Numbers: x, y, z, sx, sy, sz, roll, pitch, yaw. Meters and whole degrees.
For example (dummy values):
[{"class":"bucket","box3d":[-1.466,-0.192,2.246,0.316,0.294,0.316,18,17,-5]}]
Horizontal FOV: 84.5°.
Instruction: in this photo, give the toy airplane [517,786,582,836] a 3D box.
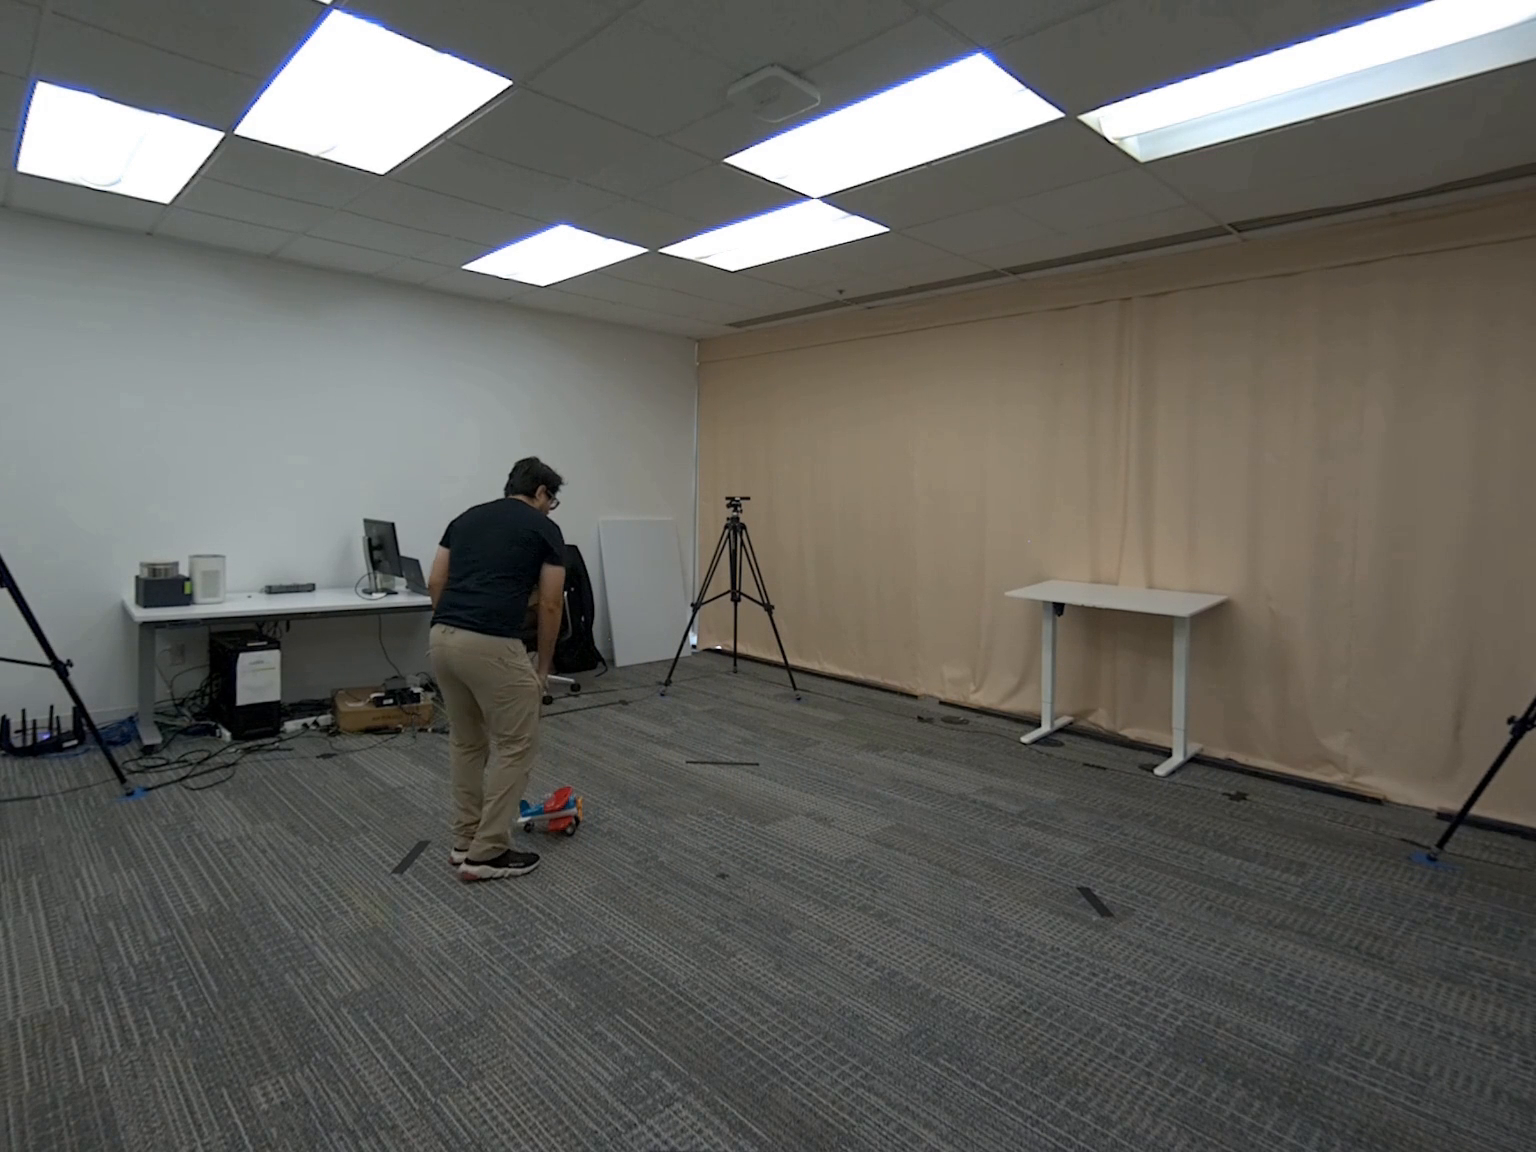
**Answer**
[{"class":"toy airplane","box3d":[-0.901,0.983,3.464,0.254,0.156,0.256,1,3,-29]}]
